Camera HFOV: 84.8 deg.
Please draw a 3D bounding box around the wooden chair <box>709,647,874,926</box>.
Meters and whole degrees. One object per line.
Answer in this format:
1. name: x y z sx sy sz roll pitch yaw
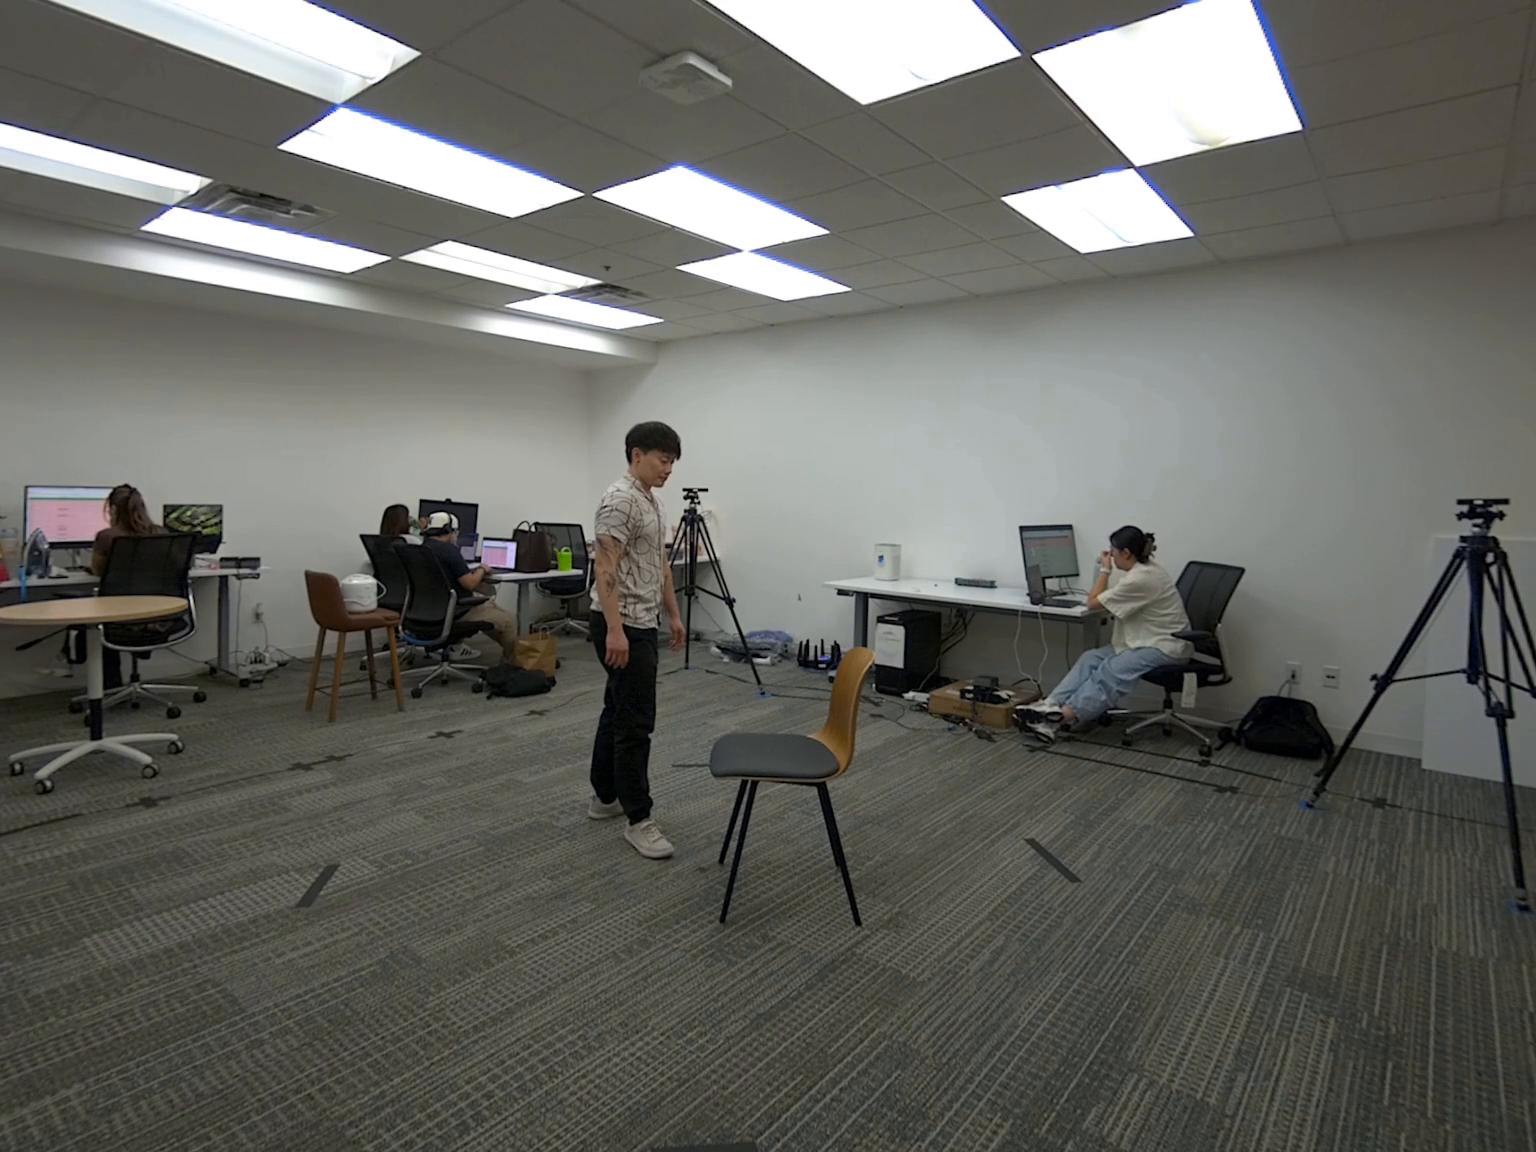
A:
1. wooden chair: 0.053 0.664 2.912 0.522 0.875 0.481 6 4 -3
